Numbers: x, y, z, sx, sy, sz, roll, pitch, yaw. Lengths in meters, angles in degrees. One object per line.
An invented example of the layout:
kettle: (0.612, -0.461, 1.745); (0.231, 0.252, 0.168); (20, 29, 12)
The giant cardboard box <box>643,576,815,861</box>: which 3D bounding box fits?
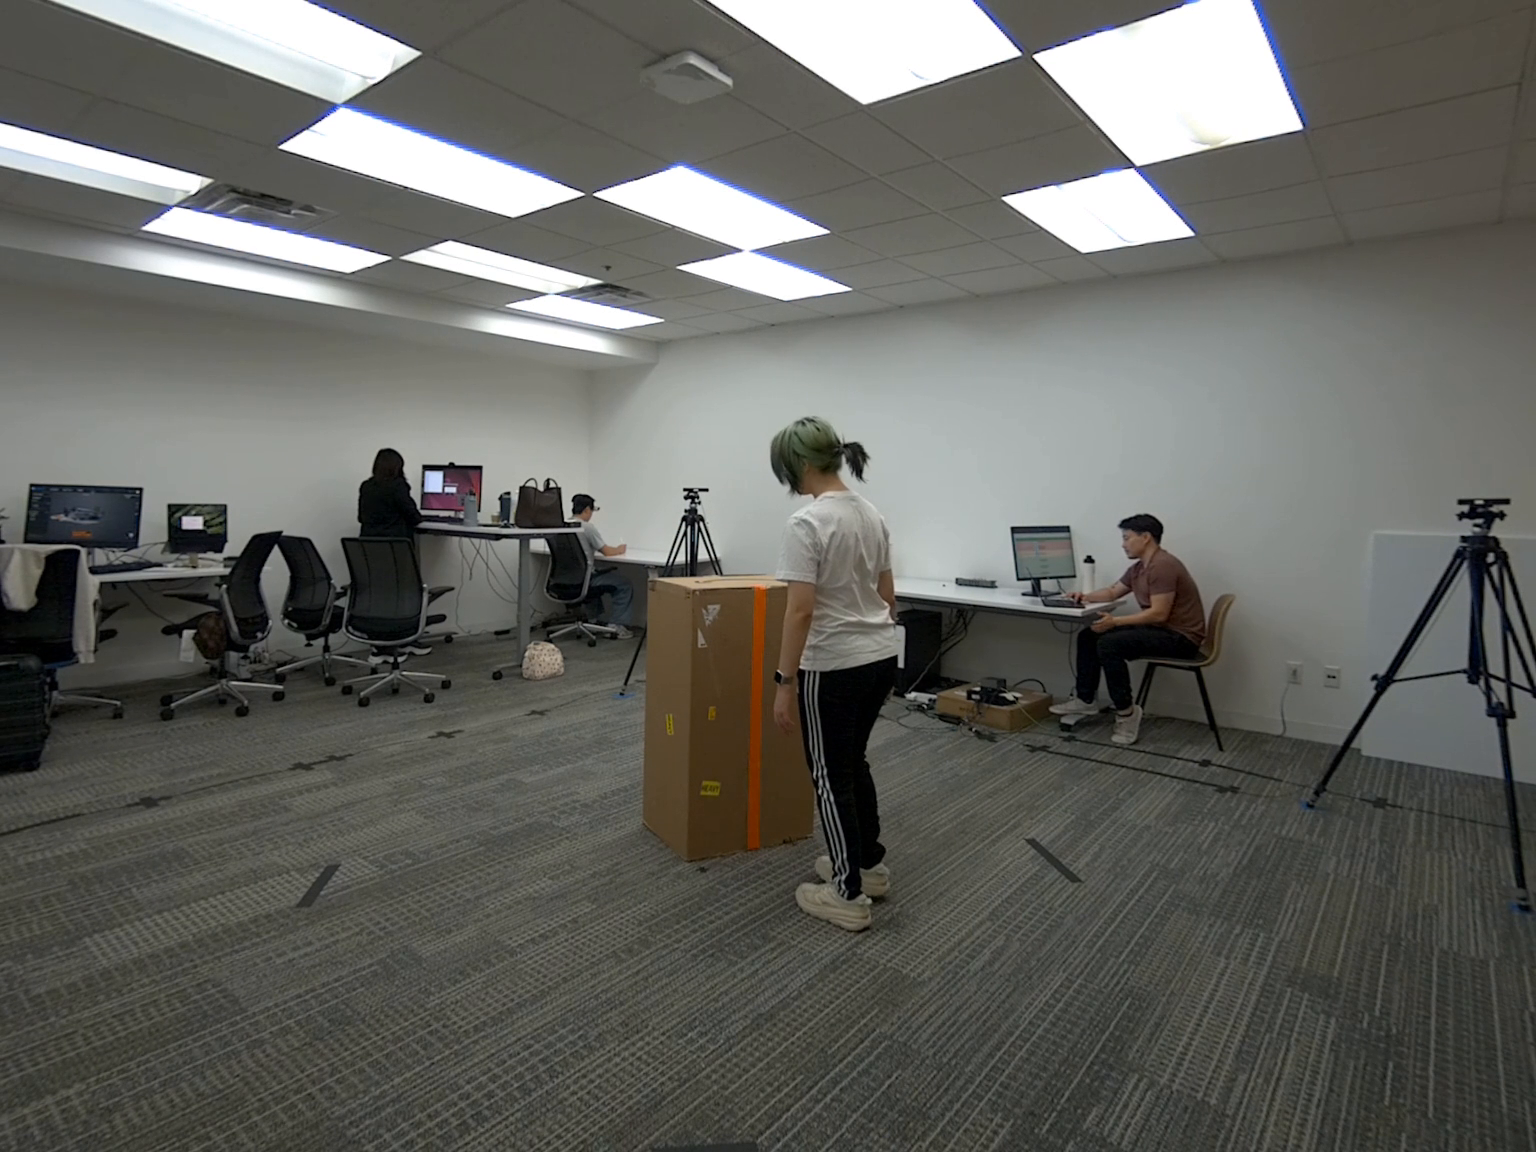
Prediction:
giant cardboard box: (-0.165, 0.527, 3.456); (0.562, 1.023, 0.439); (0, 3, -30)
